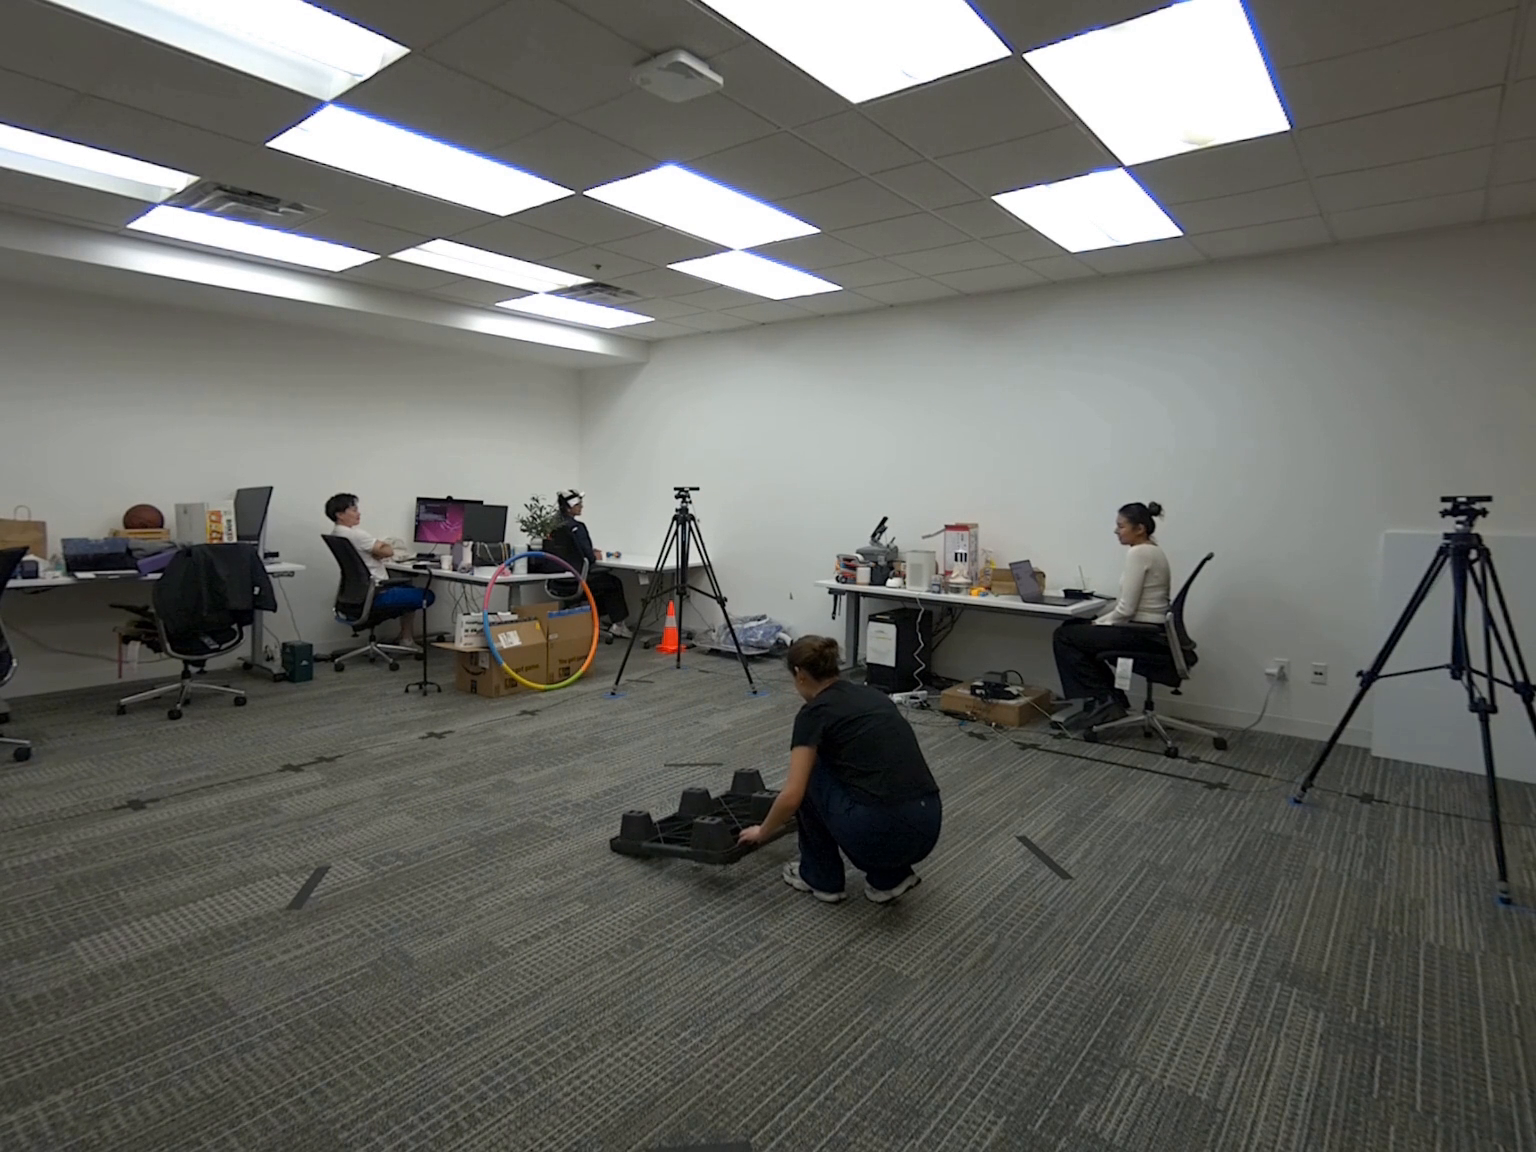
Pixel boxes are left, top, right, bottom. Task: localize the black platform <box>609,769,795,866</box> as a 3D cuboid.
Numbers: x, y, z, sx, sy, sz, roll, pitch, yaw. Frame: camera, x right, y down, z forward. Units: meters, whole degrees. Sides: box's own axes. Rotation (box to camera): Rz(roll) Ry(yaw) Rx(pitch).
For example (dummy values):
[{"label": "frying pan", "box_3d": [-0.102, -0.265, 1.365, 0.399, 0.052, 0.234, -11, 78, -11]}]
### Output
[{"label": "black platform", "box_3d": [-0.129, 0.922, 3.387, 0.621, 0.144, 0.782, -7, -1, 39]}]
